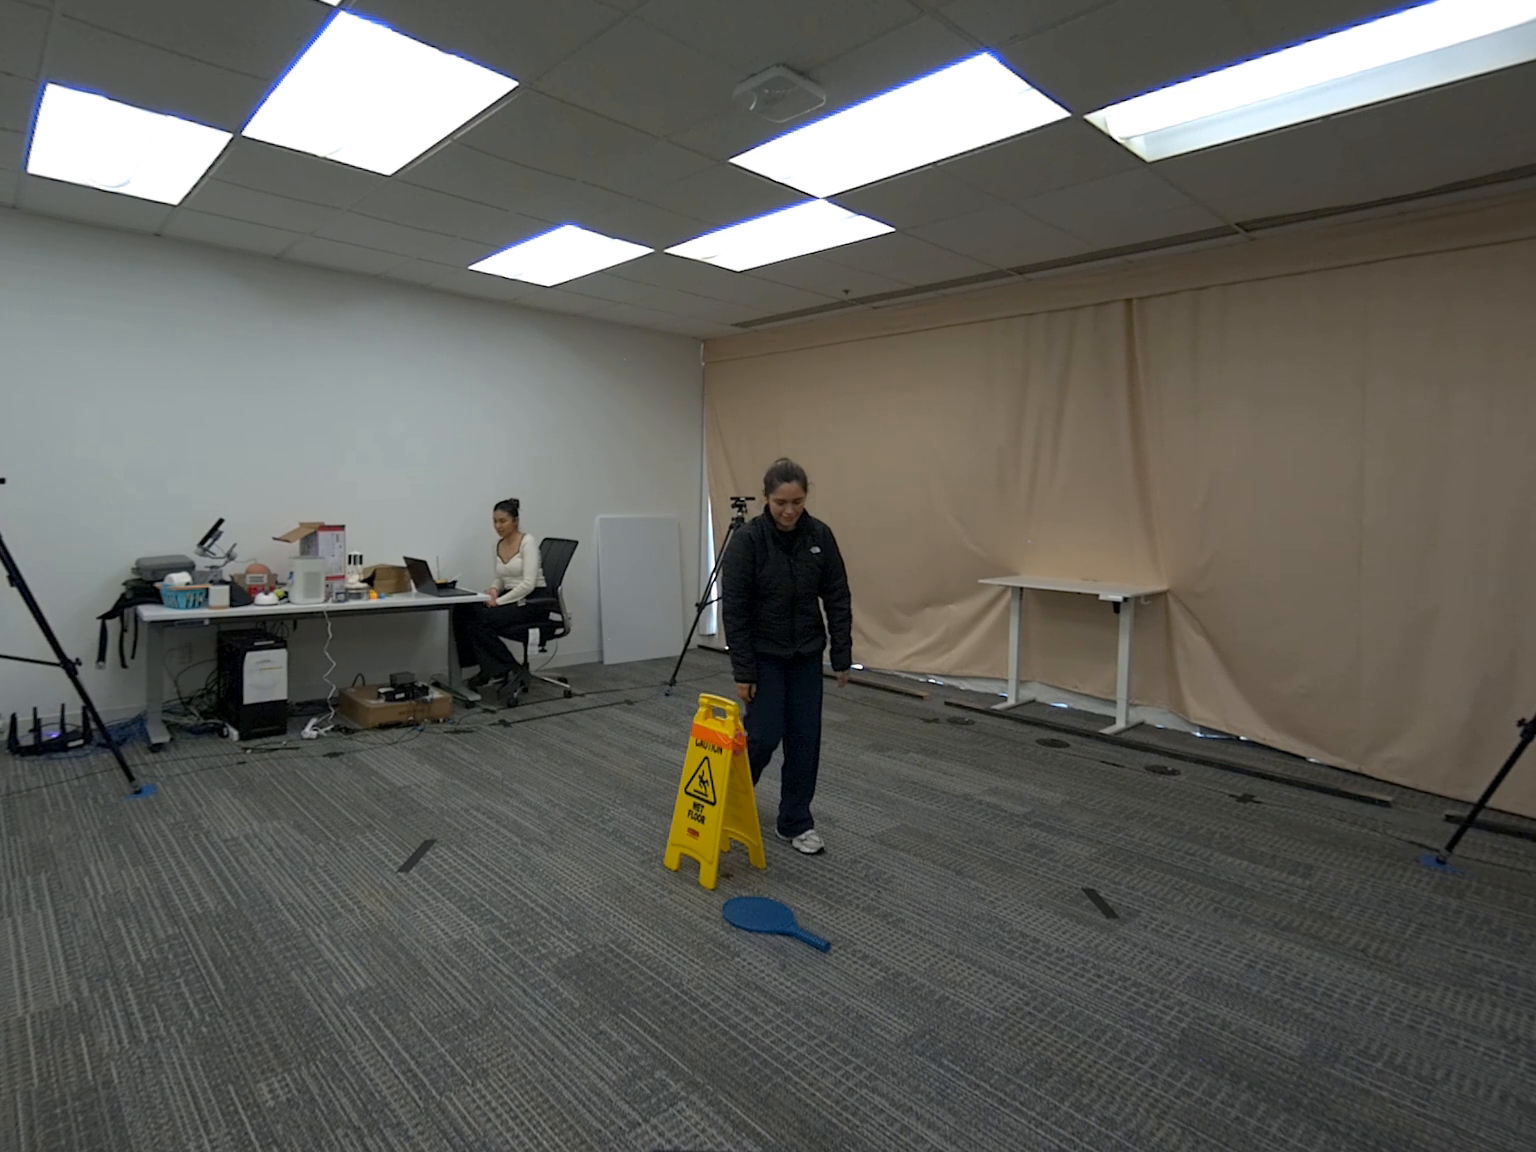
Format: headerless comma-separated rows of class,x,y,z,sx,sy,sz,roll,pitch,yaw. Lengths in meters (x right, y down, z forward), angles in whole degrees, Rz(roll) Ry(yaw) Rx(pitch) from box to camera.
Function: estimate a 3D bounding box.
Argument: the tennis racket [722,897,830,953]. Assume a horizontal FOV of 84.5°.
tennis racket,0.020,1.134,2.732,0.209,0.031,0.444,-5,7,-43
